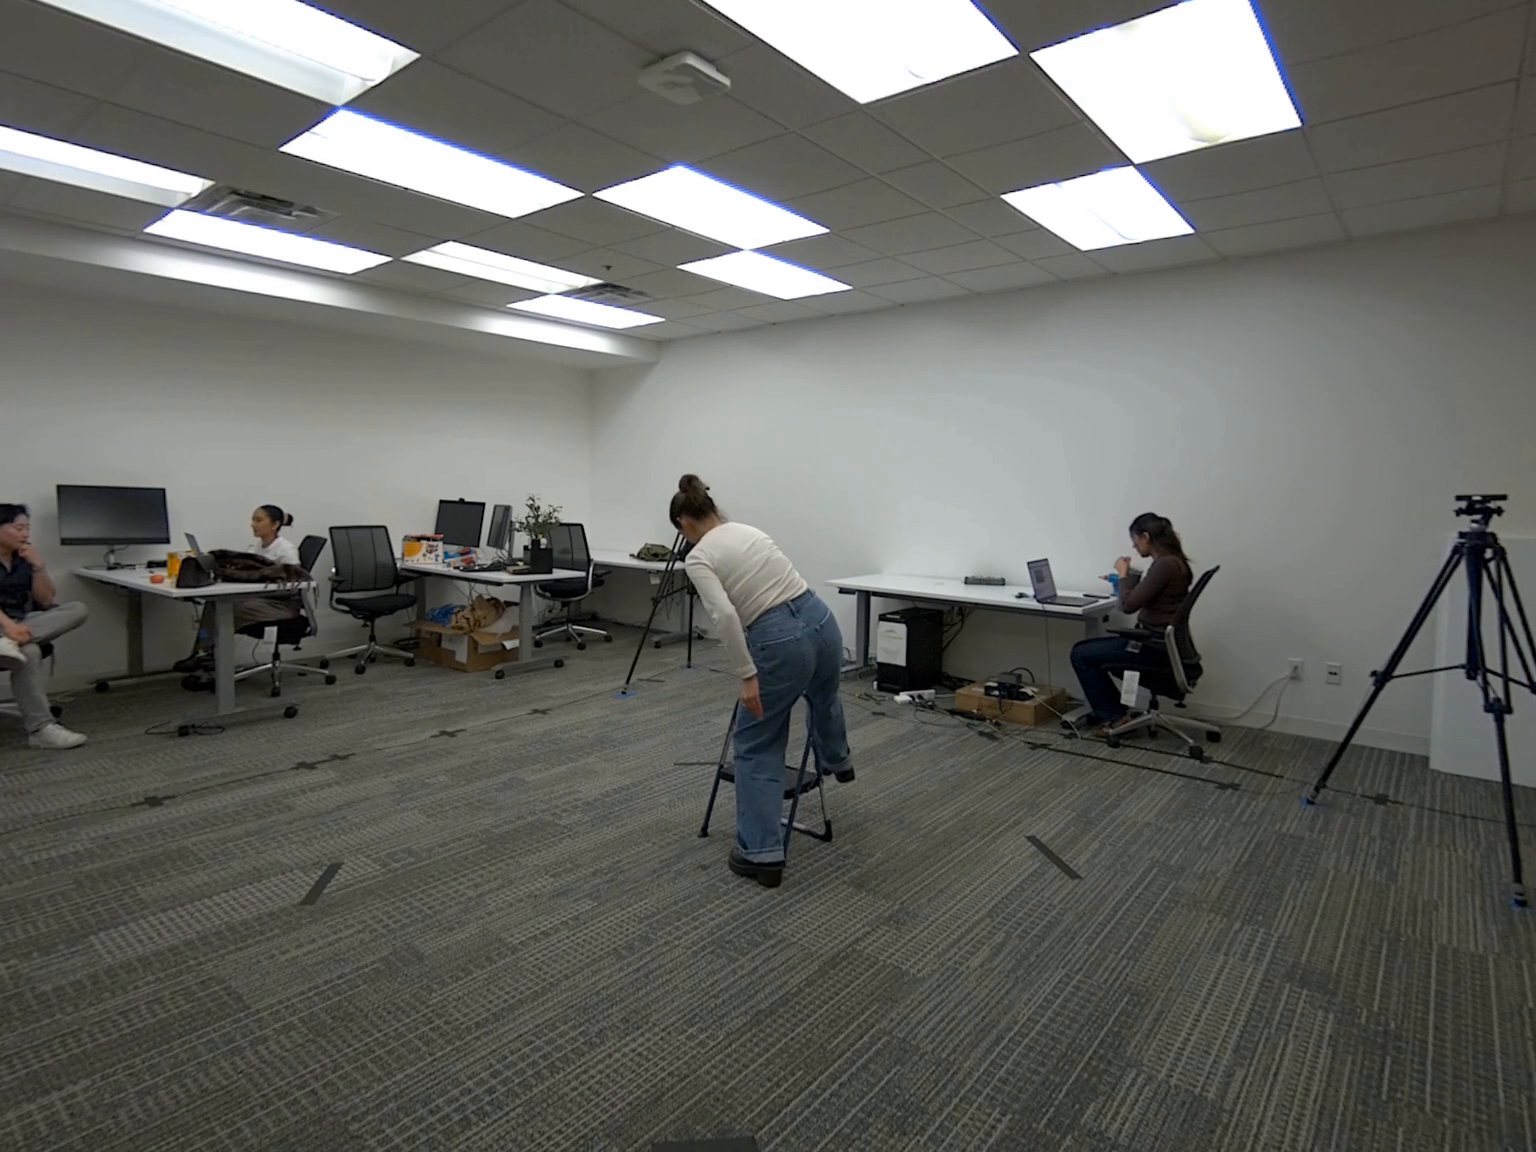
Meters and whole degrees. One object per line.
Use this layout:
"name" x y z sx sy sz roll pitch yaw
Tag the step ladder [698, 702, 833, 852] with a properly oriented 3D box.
"step ladder" -0.009 0.739 3.374 0.445 0.604 0.339 3 4 40
